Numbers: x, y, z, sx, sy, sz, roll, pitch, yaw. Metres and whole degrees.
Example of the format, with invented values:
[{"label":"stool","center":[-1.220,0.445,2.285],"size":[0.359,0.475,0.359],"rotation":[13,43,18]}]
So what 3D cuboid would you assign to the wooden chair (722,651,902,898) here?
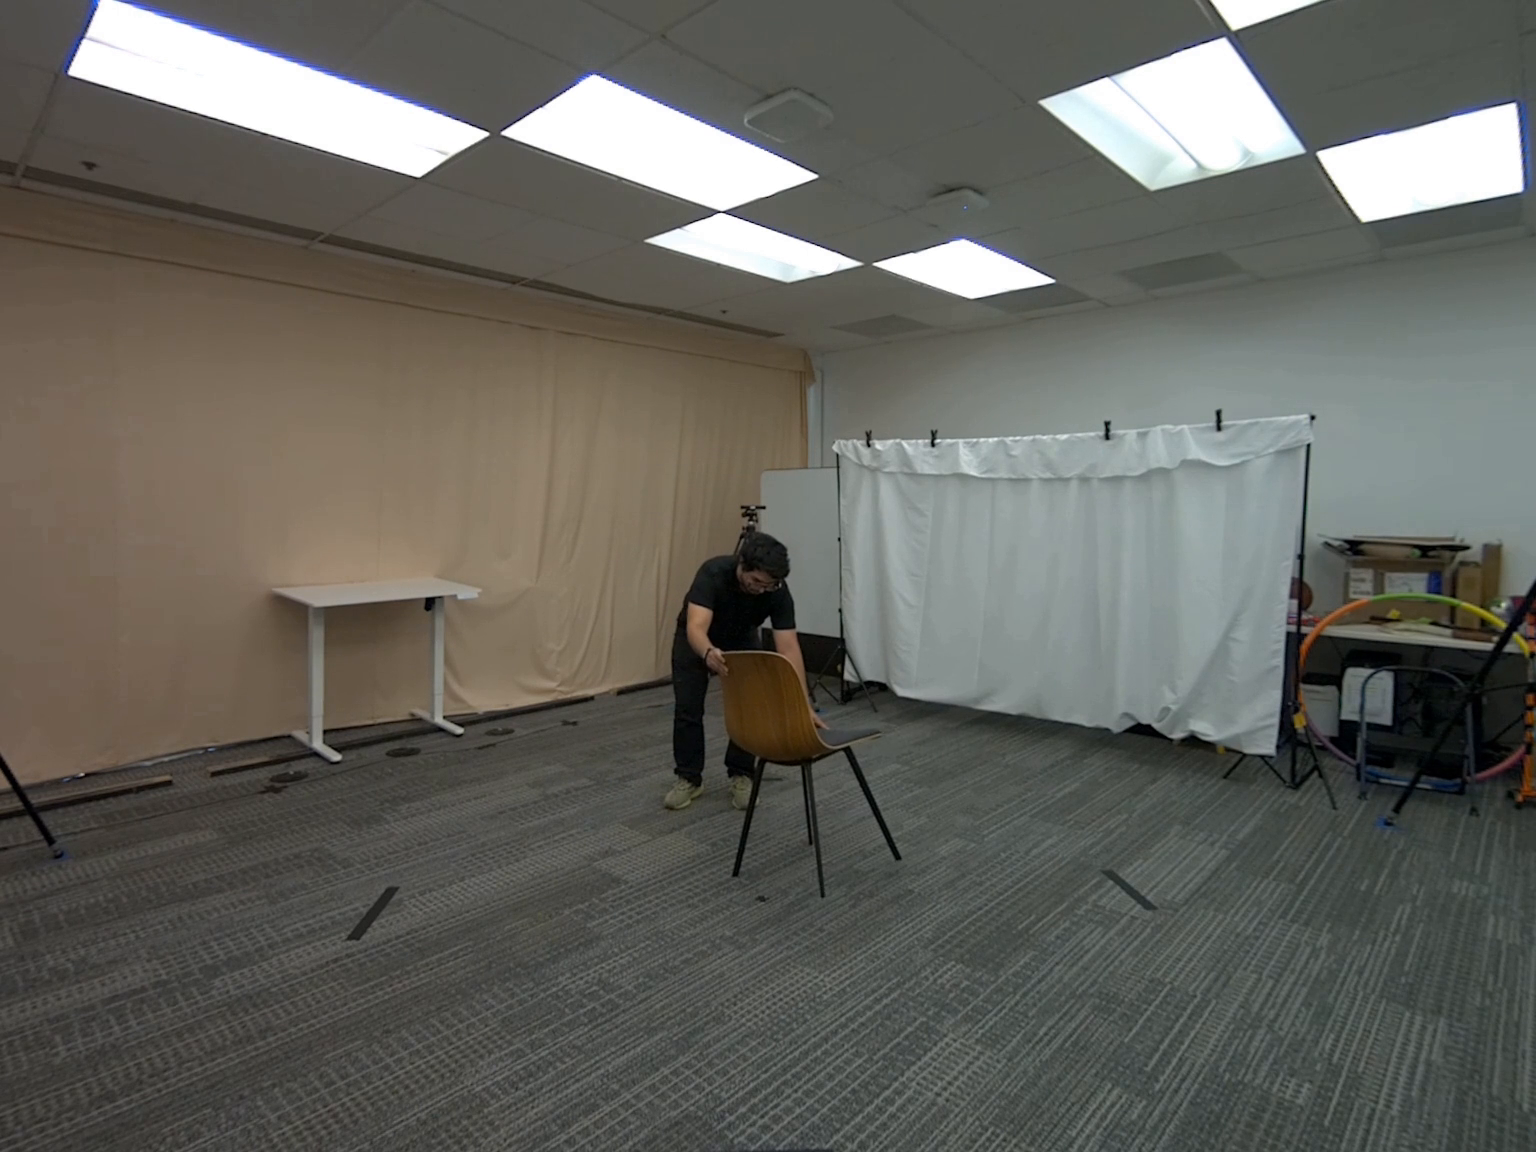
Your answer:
[{"label":"wooden chair","center":[0.143,0.670,3.178],"size":[0.508,0.878,0.492],"rotation":[-9,0,-44]}]
